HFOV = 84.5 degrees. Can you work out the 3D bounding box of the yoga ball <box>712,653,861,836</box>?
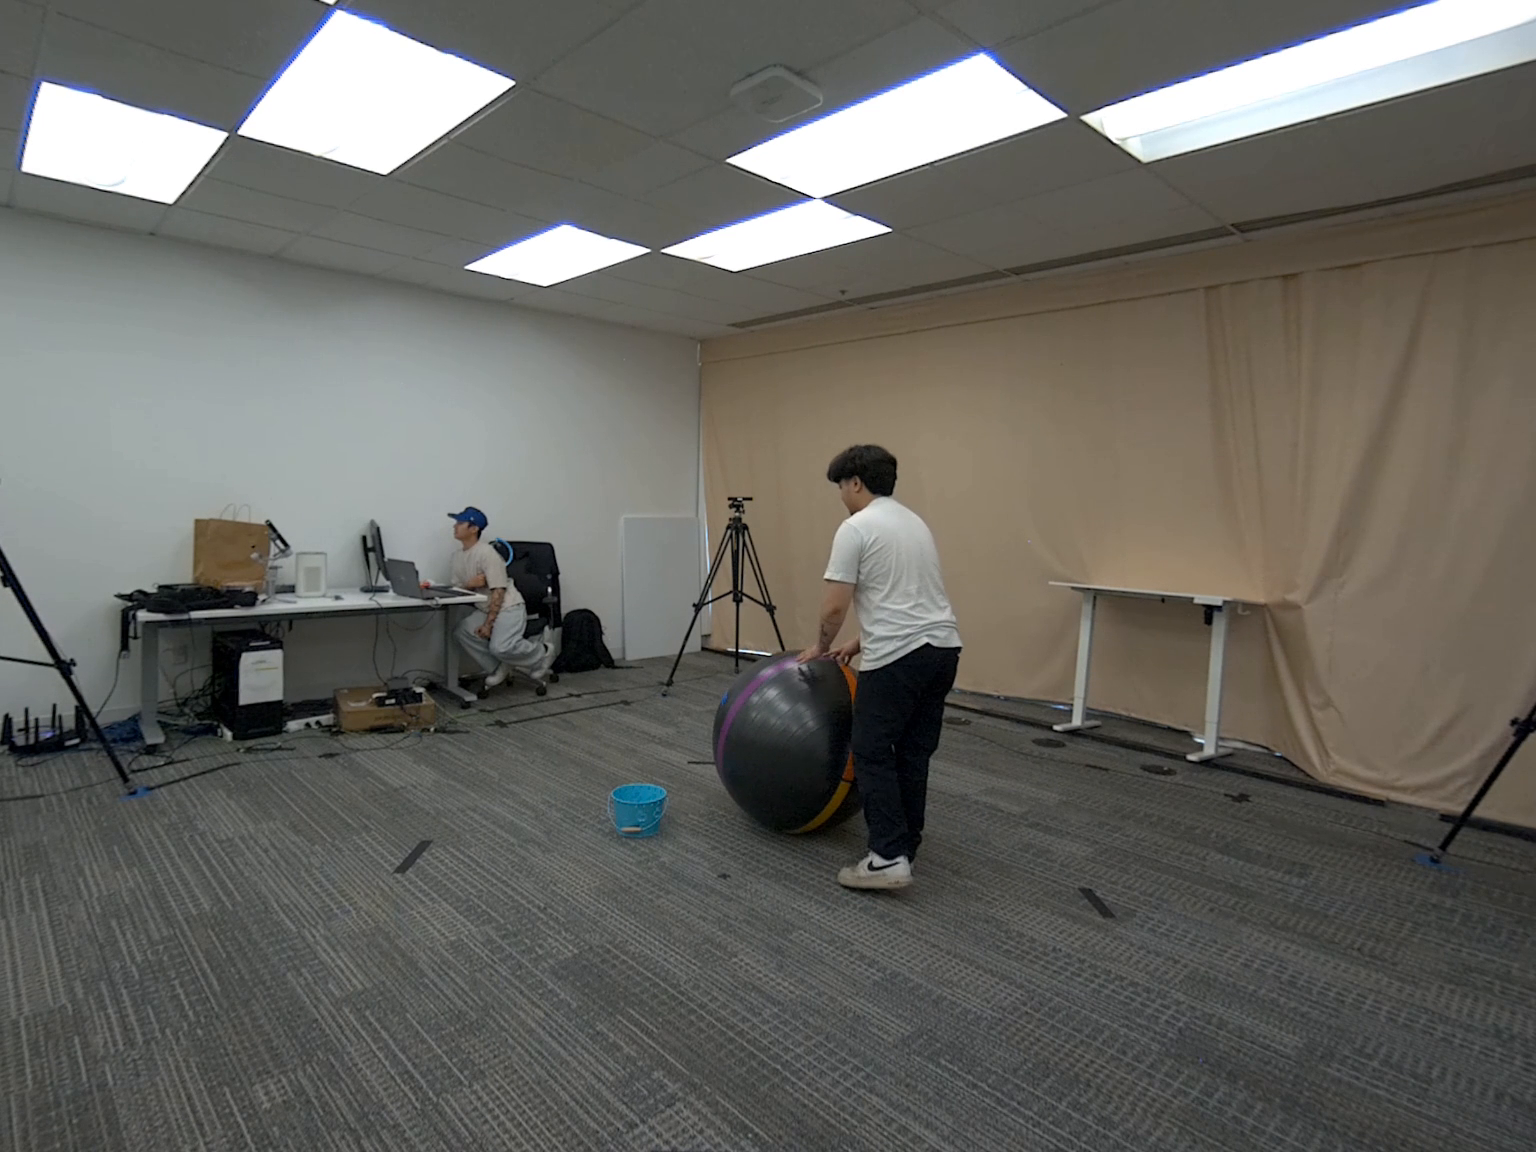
[{"bbox_3d":[0.132,0.704,3.613,0.757,0.756,0.761,1,4,-1],"label":"yoga ball"}]
